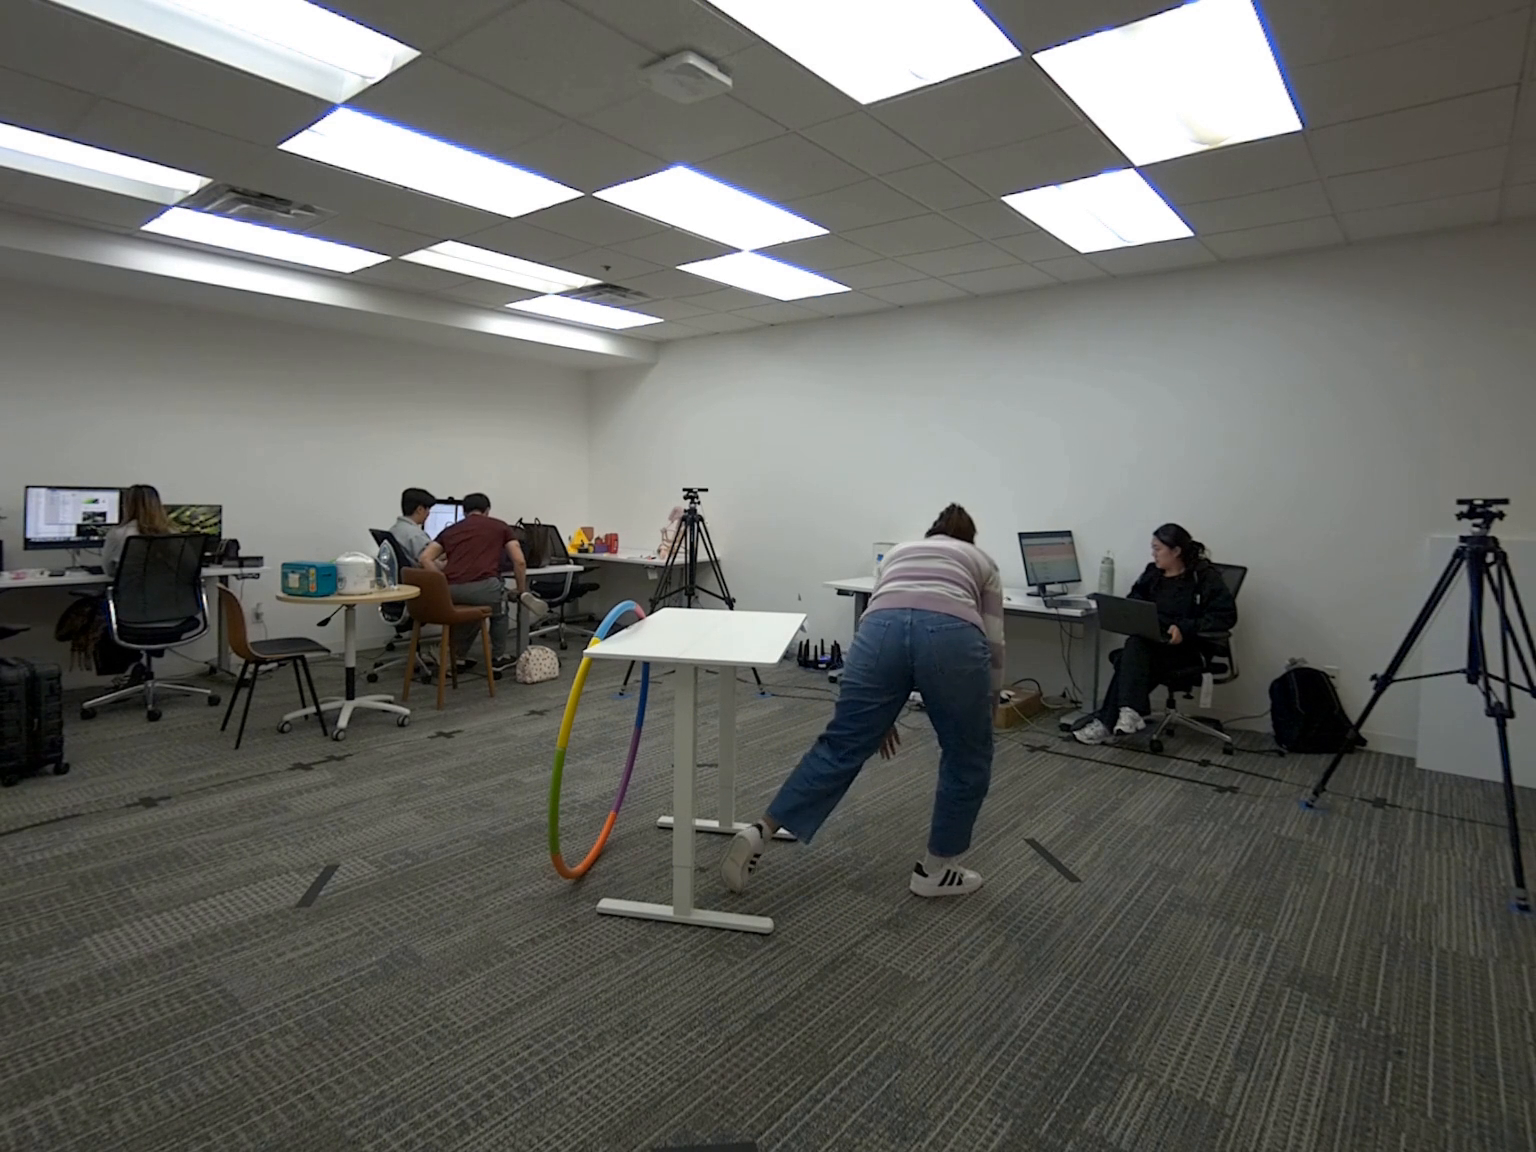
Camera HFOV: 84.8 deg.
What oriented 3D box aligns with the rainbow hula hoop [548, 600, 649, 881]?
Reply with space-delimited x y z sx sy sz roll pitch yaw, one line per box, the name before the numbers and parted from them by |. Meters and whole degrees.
rainbow hula hoop | -0.600 0.581 3.092 0.036 0.975 0.971 9 5 7
